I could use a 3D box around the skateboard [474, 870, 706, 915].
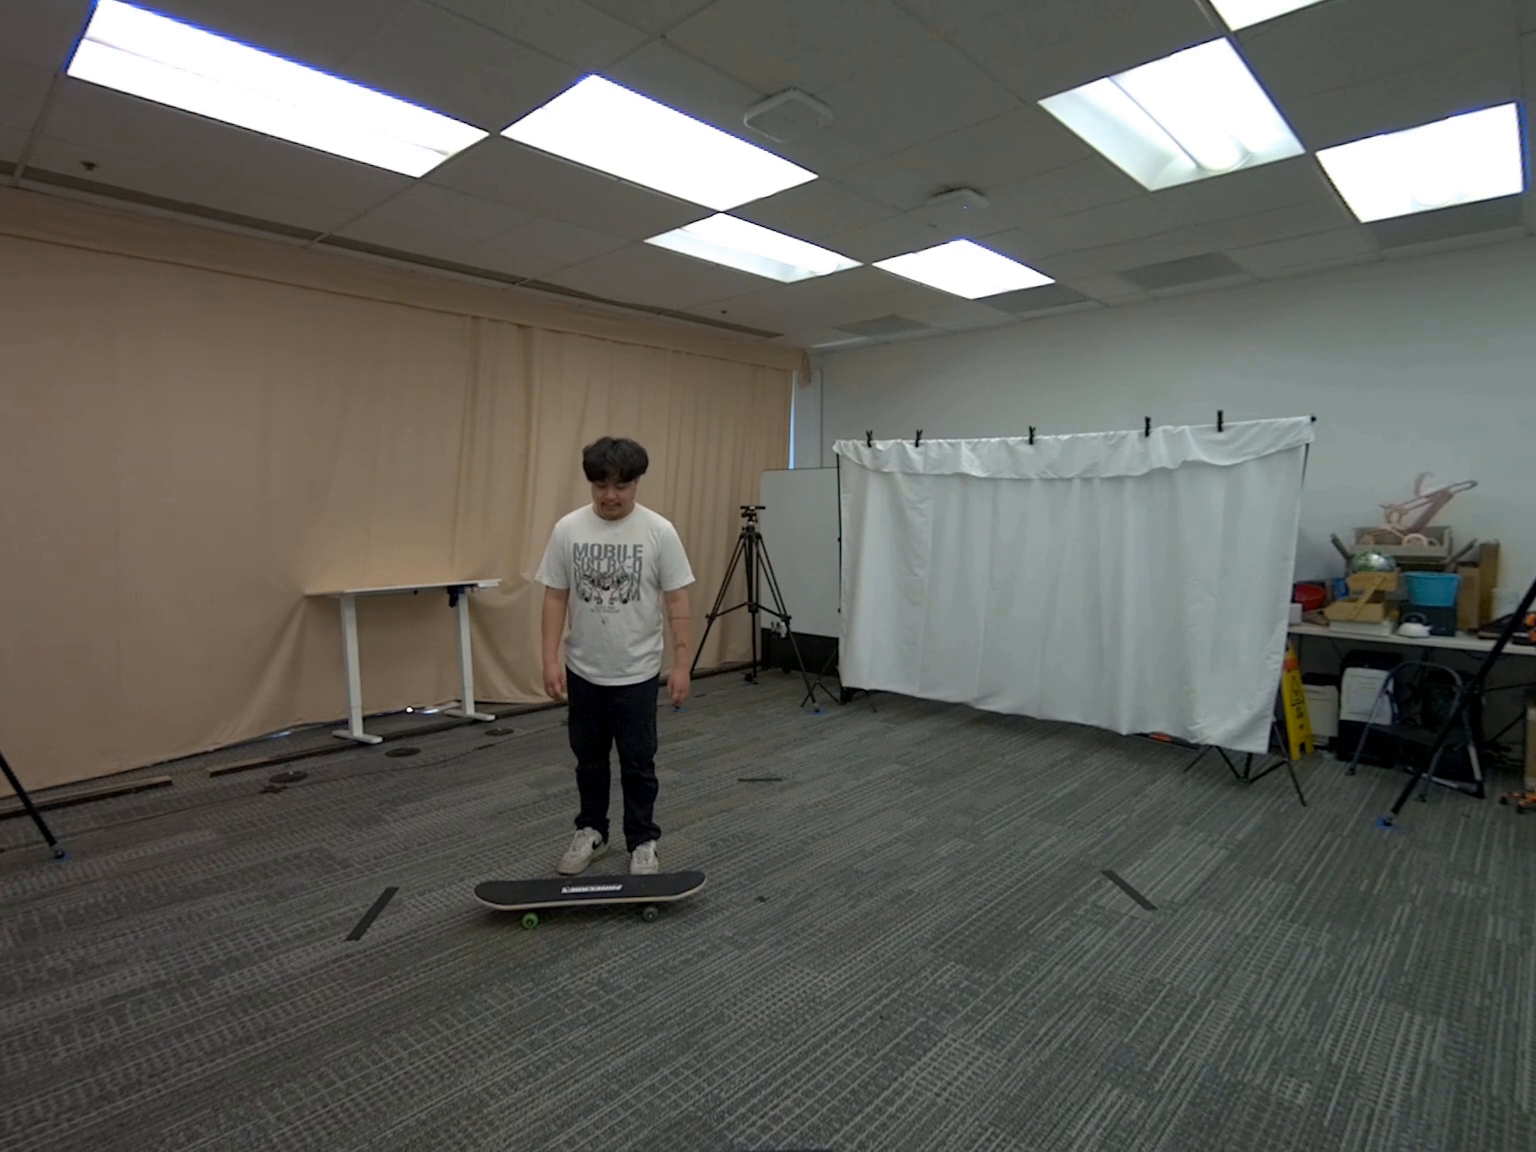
[{"bbox_3d":[-0.598,1.097,2.881,0.780,0.110,0.195,-1,5,-6],"label":"skateboard"}]
